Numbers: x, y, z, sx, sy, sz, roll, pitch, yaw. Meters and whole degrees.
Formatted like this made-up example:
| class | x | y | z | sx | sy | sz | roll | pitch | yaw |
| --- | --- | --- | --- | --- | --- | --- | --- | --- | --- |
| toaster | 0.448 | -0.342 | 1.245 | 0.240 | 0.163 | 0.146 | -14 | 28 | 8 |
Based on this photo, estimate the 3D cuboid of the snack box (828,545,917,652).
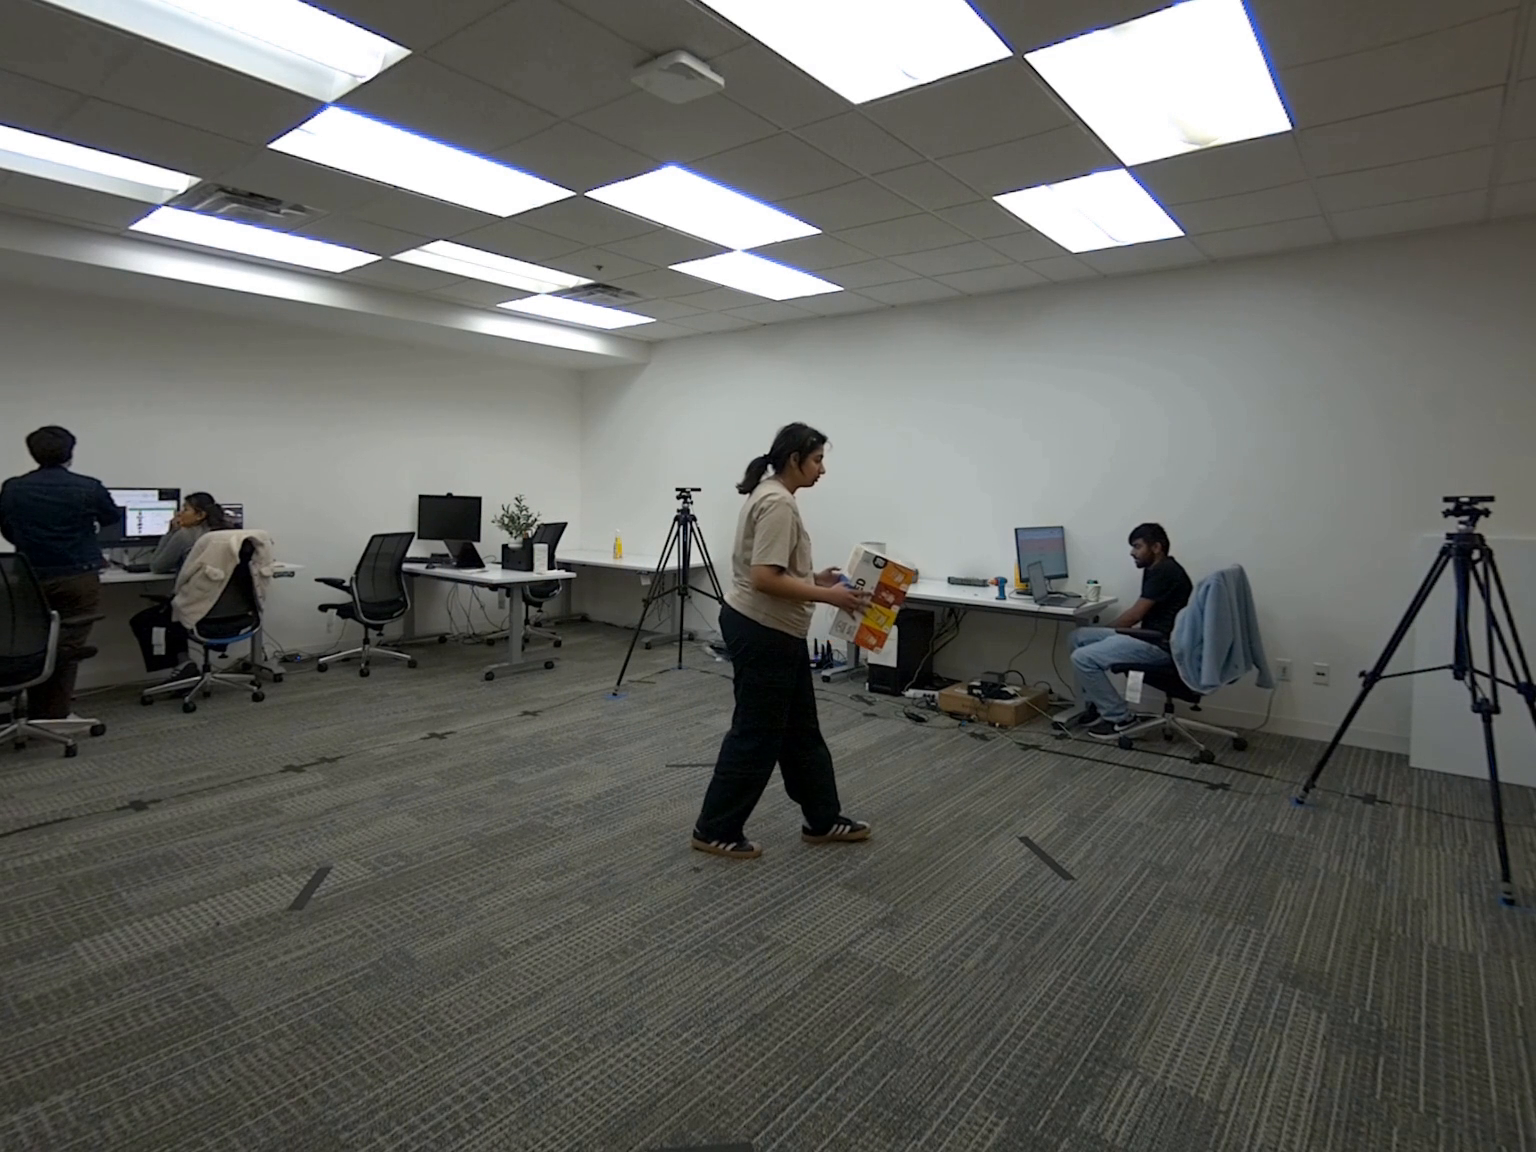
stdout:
| class | x | y | z | sx | sy | sz | roll | pitch | yaw |
| --- | --- | --- | --- | --- | --- | --- | --- | --- | --- |
| snack box | 0.381 | 0.076 | 3.314 | 0.206 | 0.339 | 0.405 | 23 | 6 | 0 |
